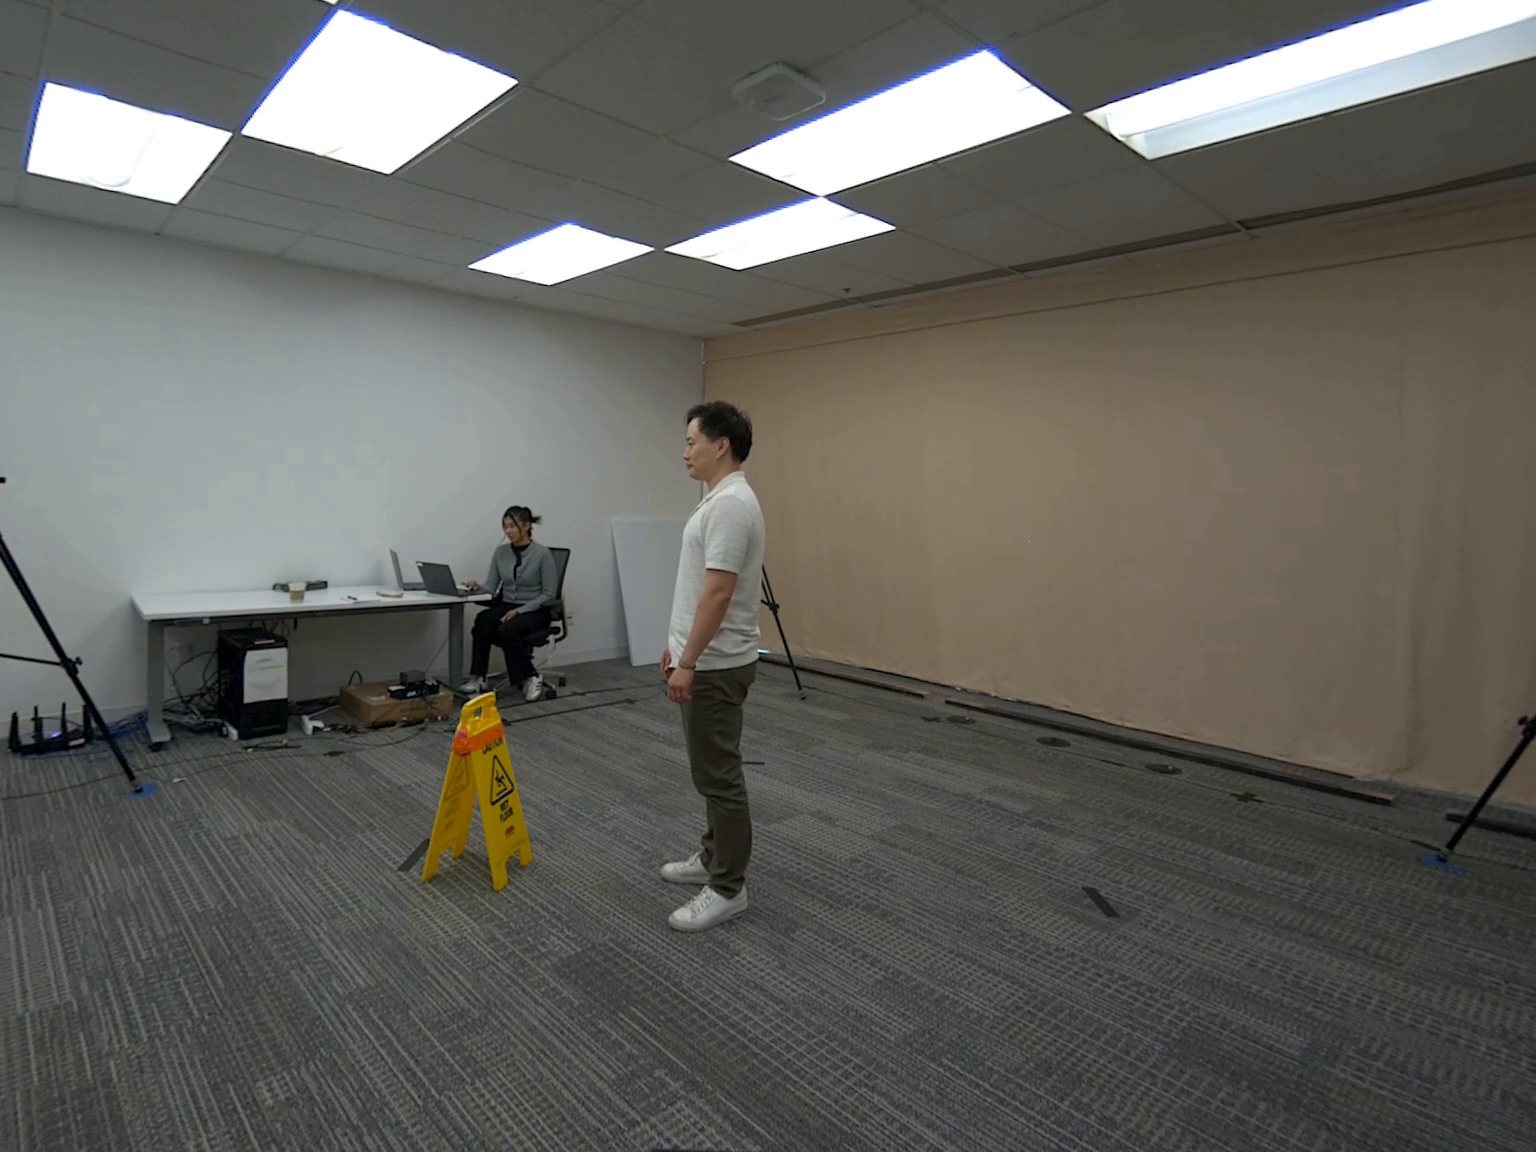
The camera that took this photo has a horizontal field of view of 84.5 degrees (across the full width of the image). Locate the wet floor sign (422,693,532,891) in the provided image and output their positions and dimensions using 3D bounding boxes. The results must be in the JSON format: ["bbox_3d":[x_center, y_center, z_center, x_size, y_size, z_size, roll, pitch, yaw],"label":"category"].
[{"bbox_3d":[-1.060,0.760,3.075,0.292,0.644,0.280,2,5,11],"label":"wet floor sign"}]
